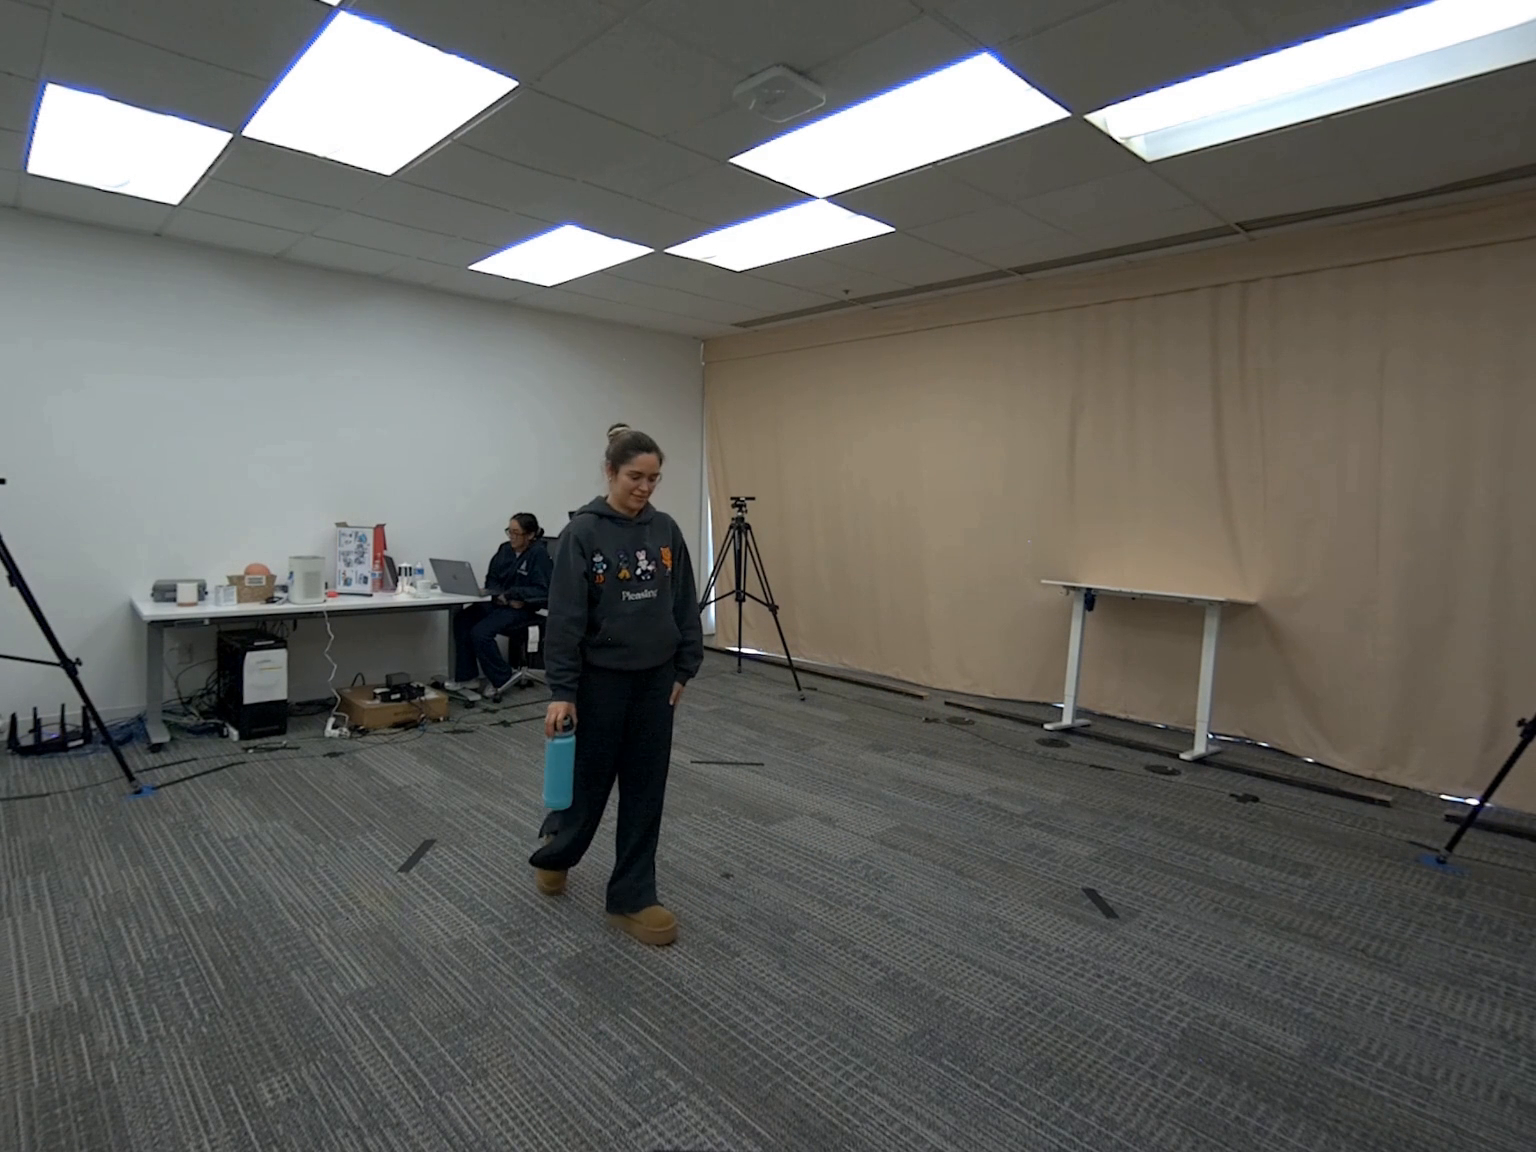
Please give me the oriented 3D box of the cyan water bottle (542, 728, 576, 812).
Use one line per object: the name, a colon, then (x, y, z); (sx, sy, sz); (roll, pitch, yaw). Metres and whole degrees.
cyan water bottle: (-0.643, 0.568, 2.562); (0.092, 0.281, 0.093); (4, 9, -2)
